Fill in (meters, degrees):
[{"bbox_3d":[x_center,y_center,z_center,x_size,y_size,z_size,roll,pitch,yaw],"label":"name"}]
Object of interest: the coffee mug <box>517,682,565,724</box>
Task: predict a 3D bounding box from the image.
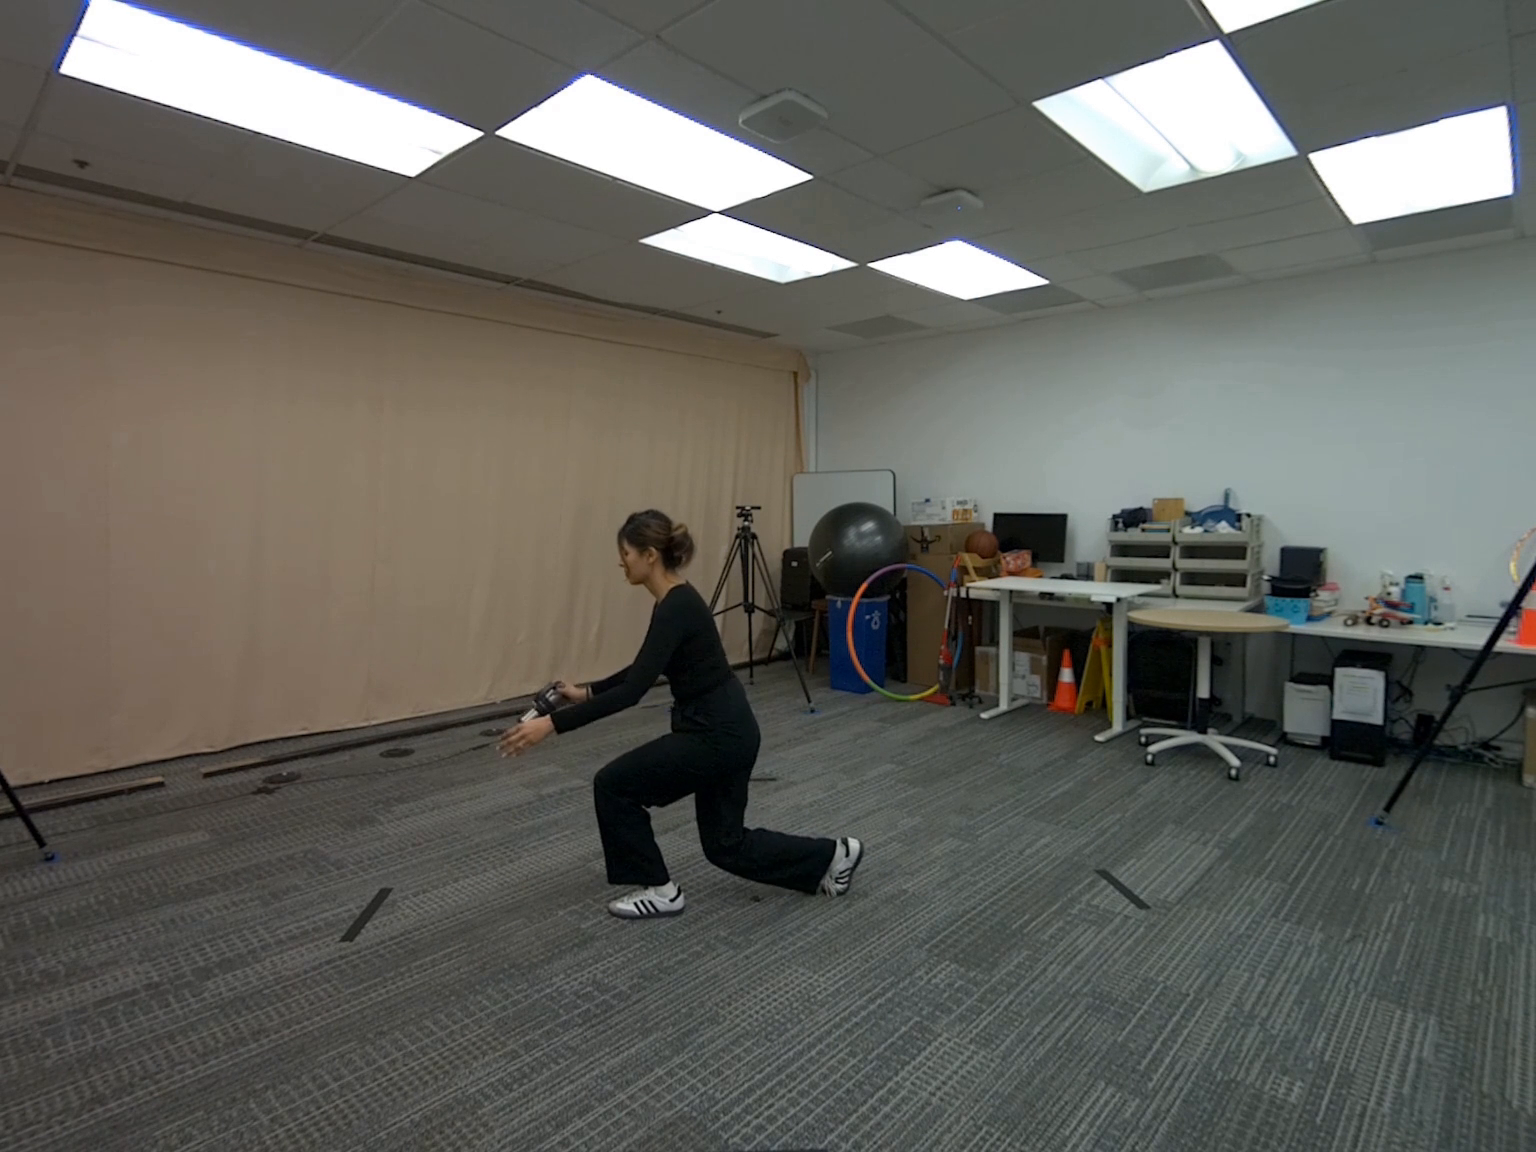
[{"bbox_3d":[-0.834,0.474,3.144,0.201,0.119,0.091,-40,57,-18],"label":"coffee mug"}]
